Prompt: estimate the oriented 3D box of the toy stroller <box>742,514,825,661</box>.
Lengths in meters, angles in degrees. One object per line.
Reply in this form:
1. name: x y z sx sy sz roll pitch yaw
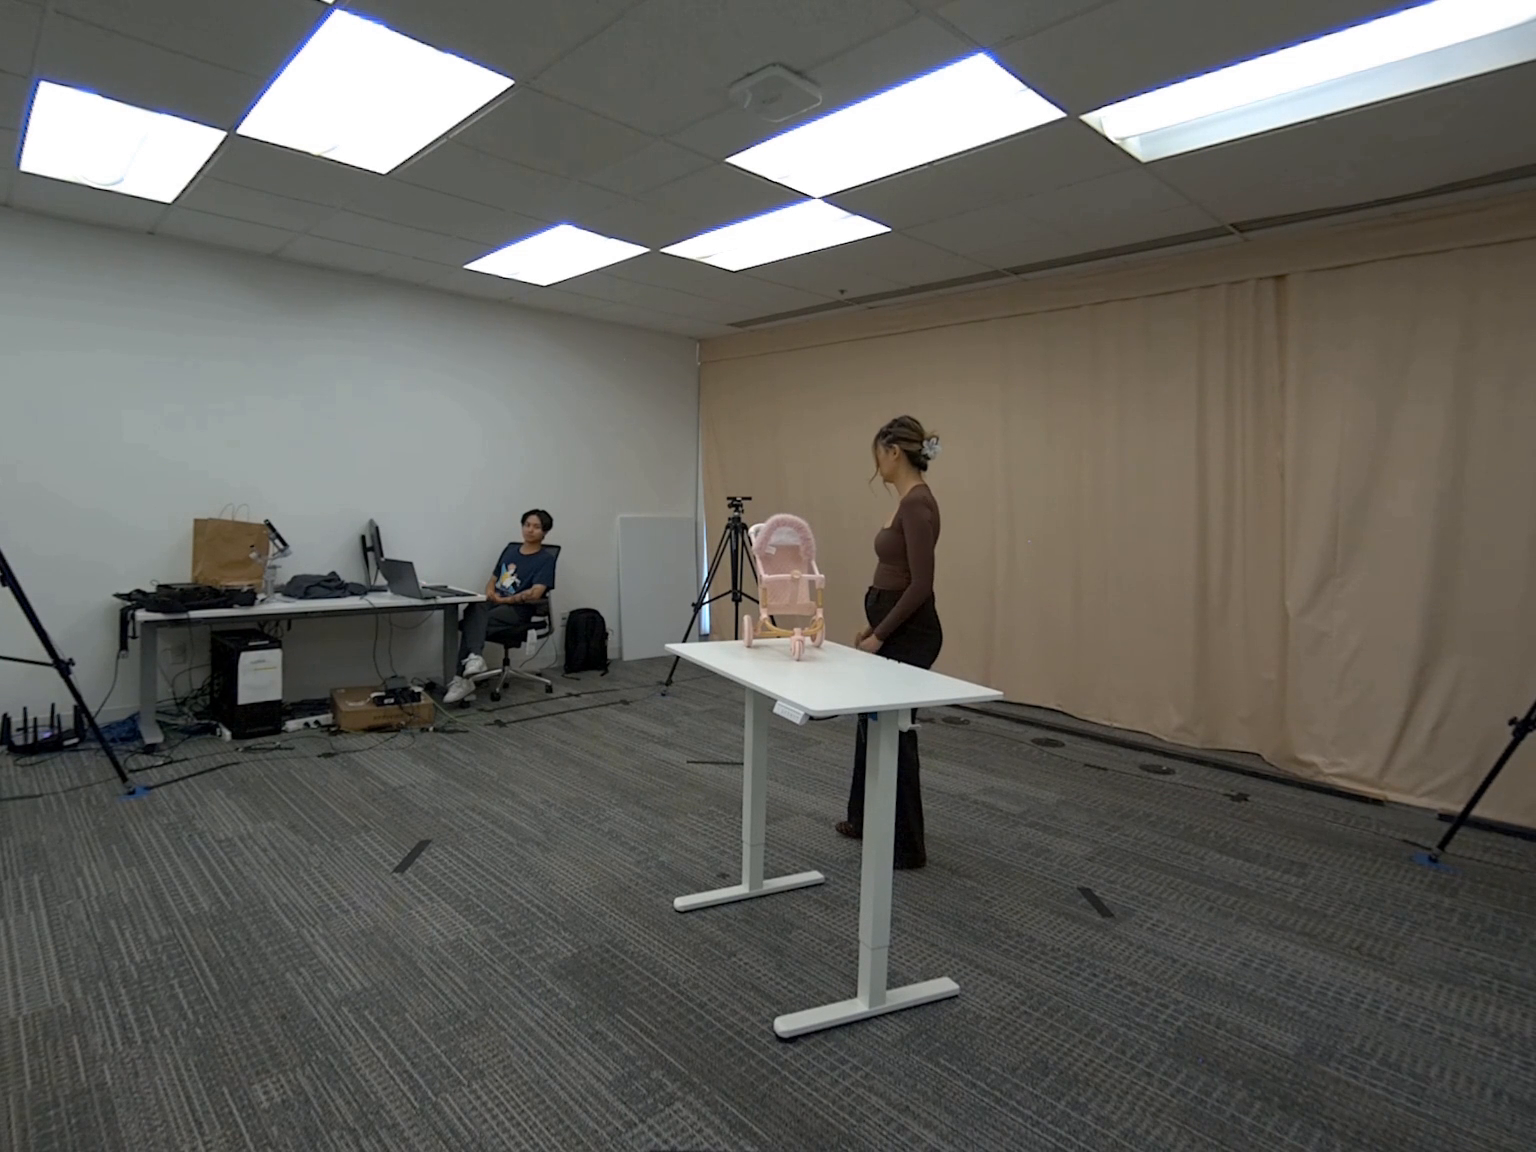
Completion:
1. toy stroller: 0.060 0.034 2.849 0.280 0.541 0.339 0 -14 -6
